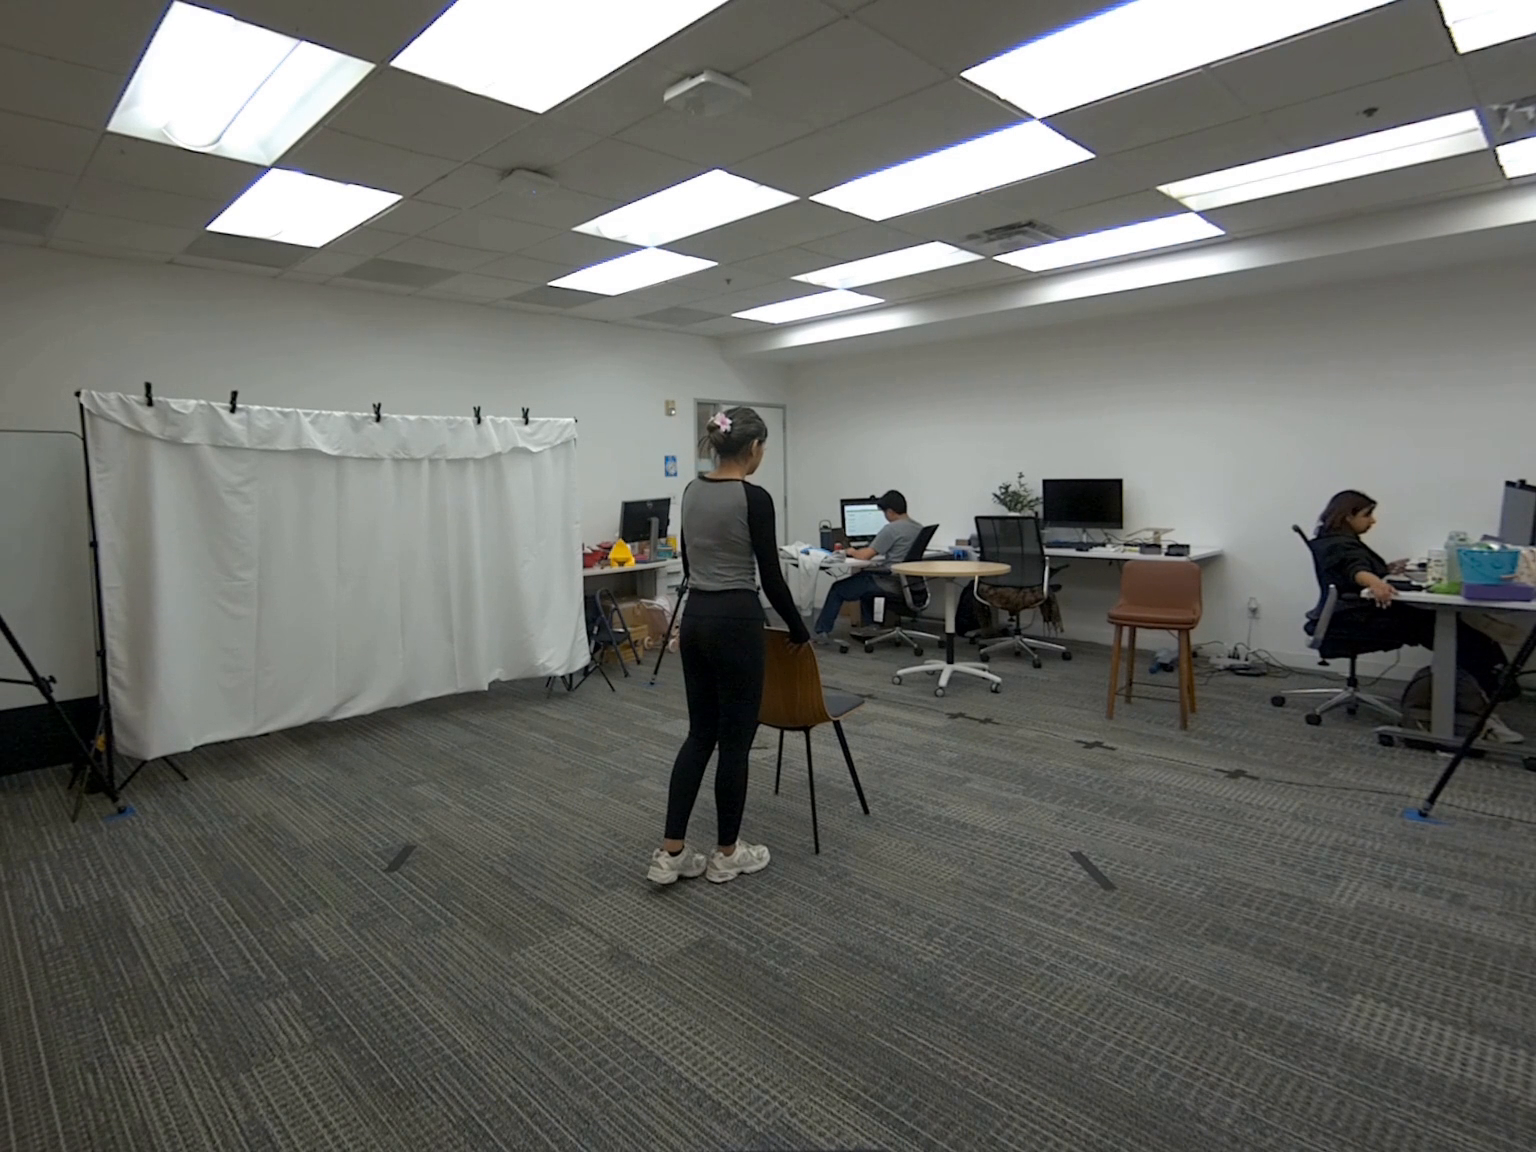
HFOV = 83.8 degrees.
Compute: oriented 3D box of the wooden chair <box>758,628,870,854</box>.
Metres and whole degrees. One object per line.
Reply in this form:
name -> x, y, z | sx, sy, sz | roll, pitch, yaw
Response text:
wooden chair -> 0.105, 0.571, 3.452 | 0.491, 0.871, 0.513 | 1, 10, 33
